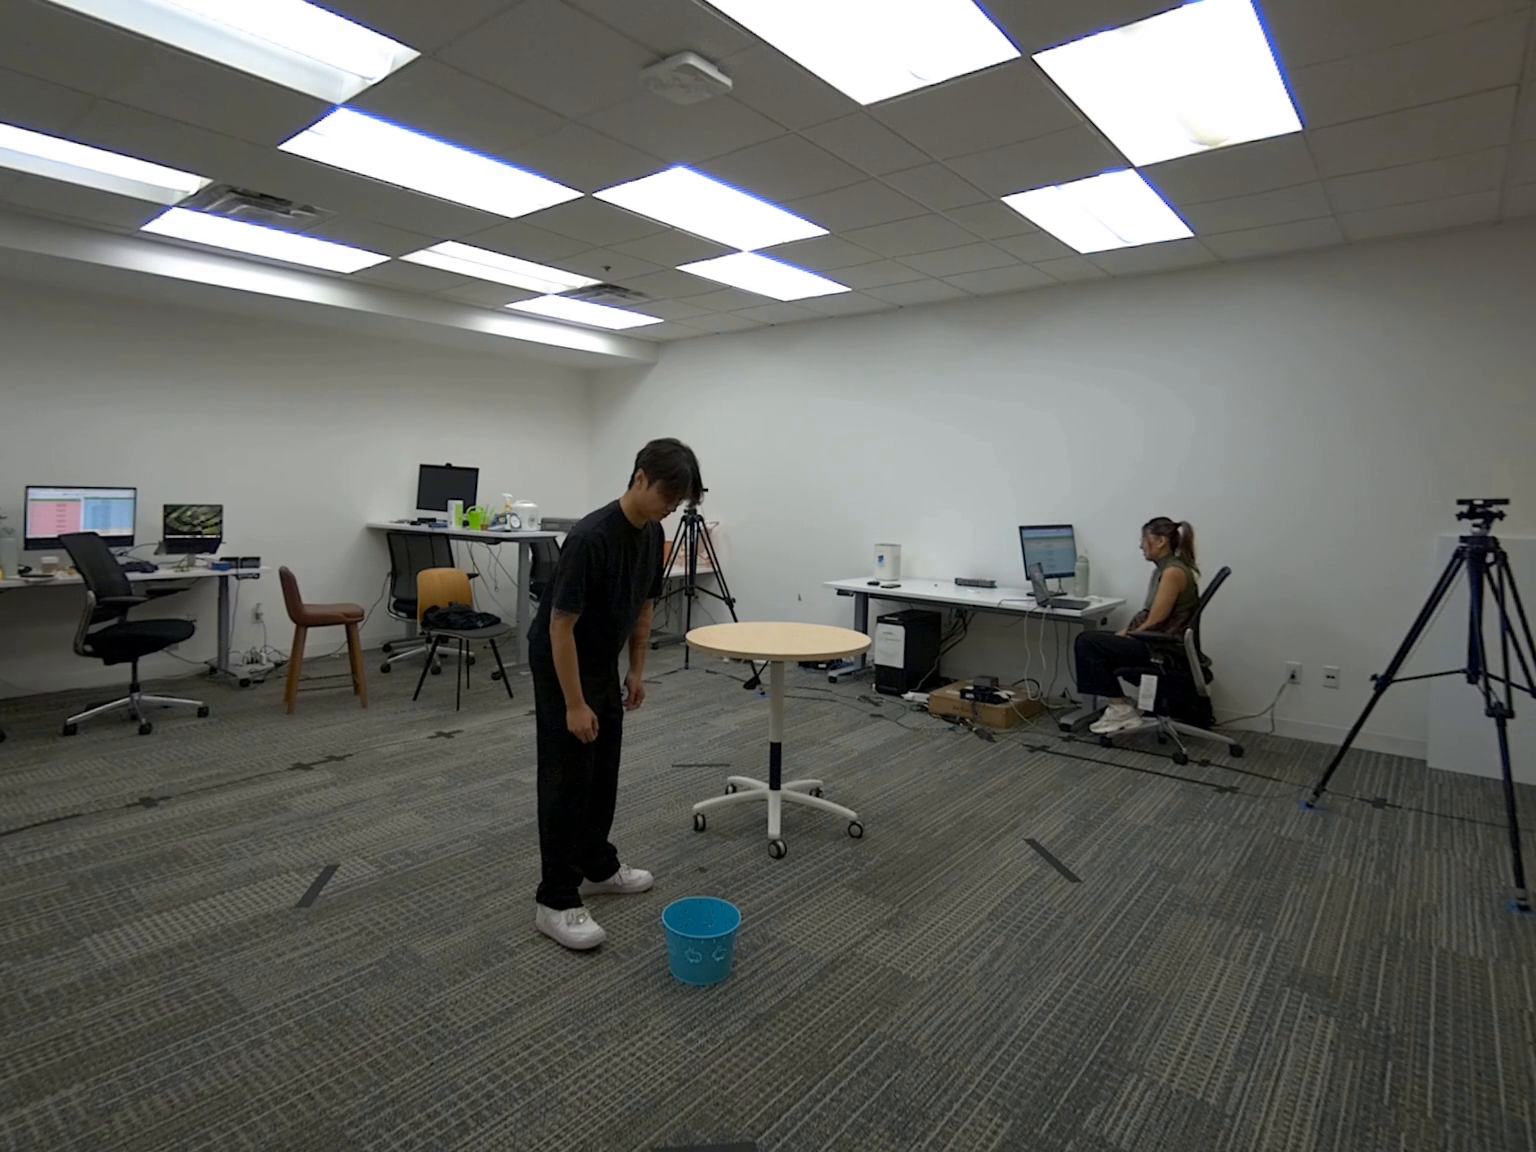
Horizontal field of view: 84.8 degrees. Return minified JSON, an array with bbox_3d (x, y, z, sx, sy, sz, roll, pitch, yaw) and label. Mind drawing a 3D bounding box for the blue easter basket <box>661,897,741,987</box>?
[{"bbox_3d":[-0.200,1.051,2.470,0.243,0.155,0.245,1,5,-2],"label":"blue easter basket"}]
